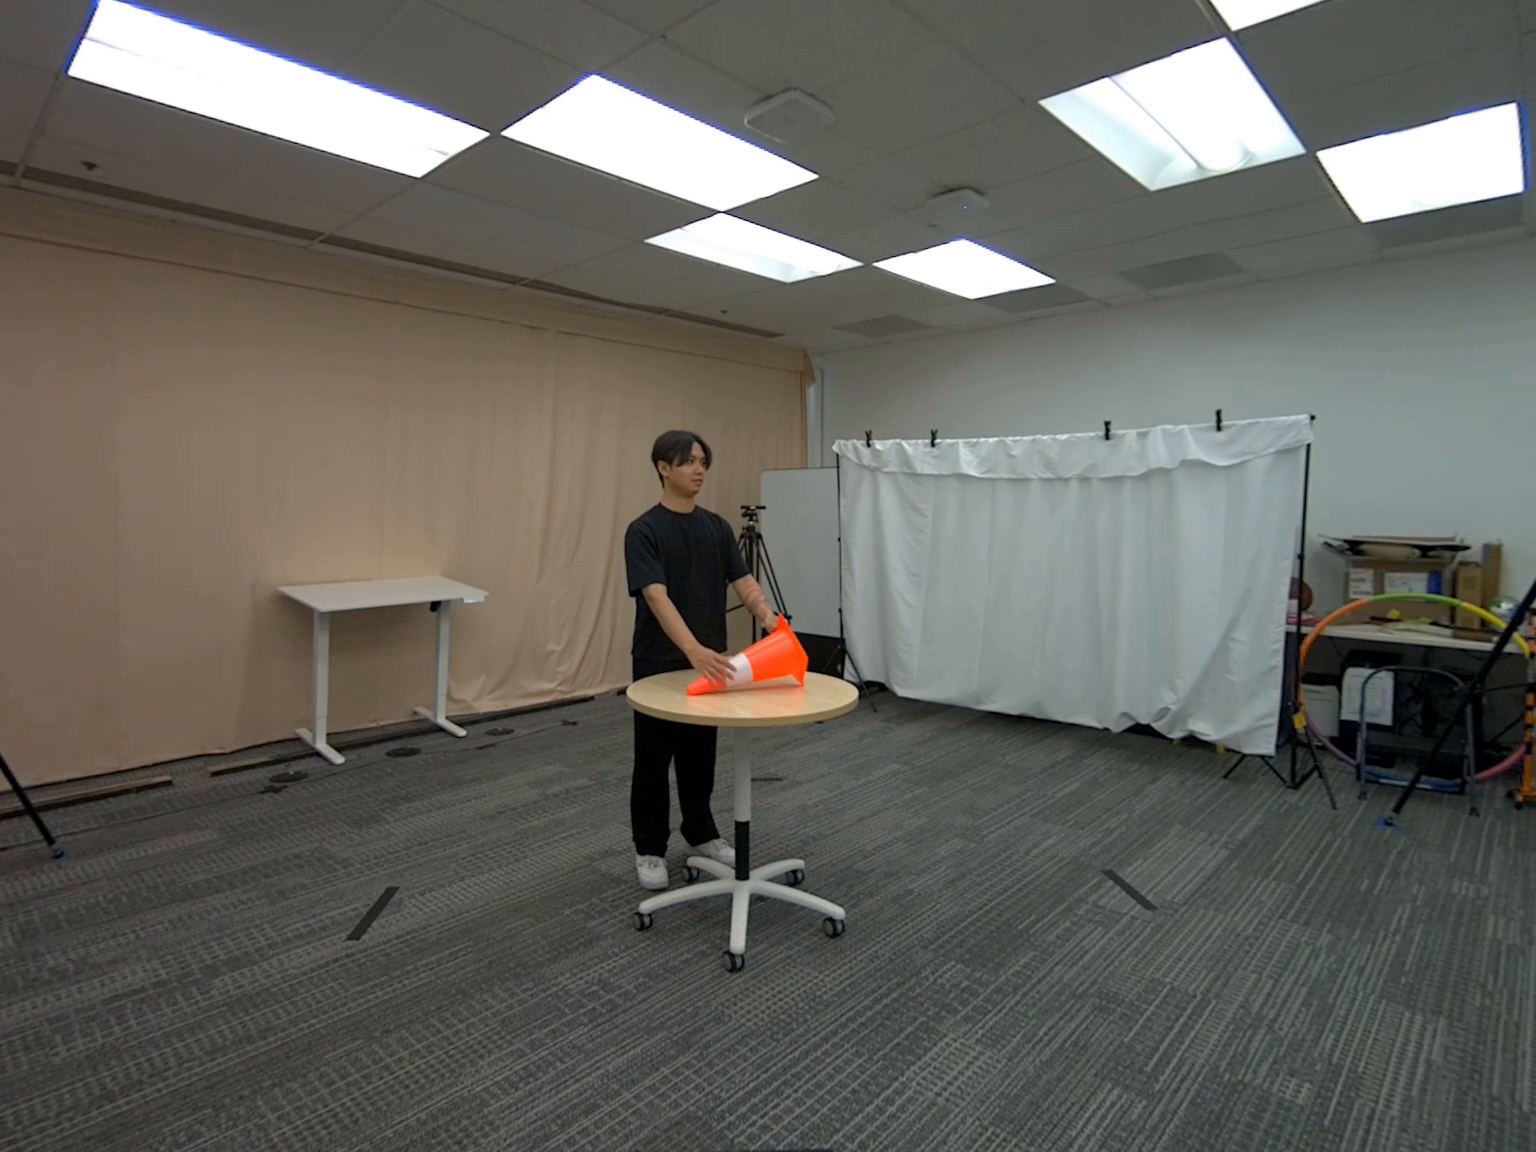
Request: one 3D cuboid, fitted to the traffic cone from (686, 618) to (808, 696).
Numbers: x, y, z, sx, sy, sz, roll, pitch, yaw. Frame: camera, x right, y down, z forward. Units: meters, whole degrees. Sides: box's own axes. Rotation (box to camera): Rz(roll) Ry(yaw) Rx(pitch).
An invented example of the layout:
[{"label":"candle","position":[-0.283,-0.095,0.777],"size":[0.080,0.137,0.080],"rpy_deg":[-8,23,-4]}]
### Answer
[{"label":"traffic cone","position":[-0.093,0.313,2.761],"size":[0.378,0.201,0.210],"rpy_deg":[-20,53,-19]}]
